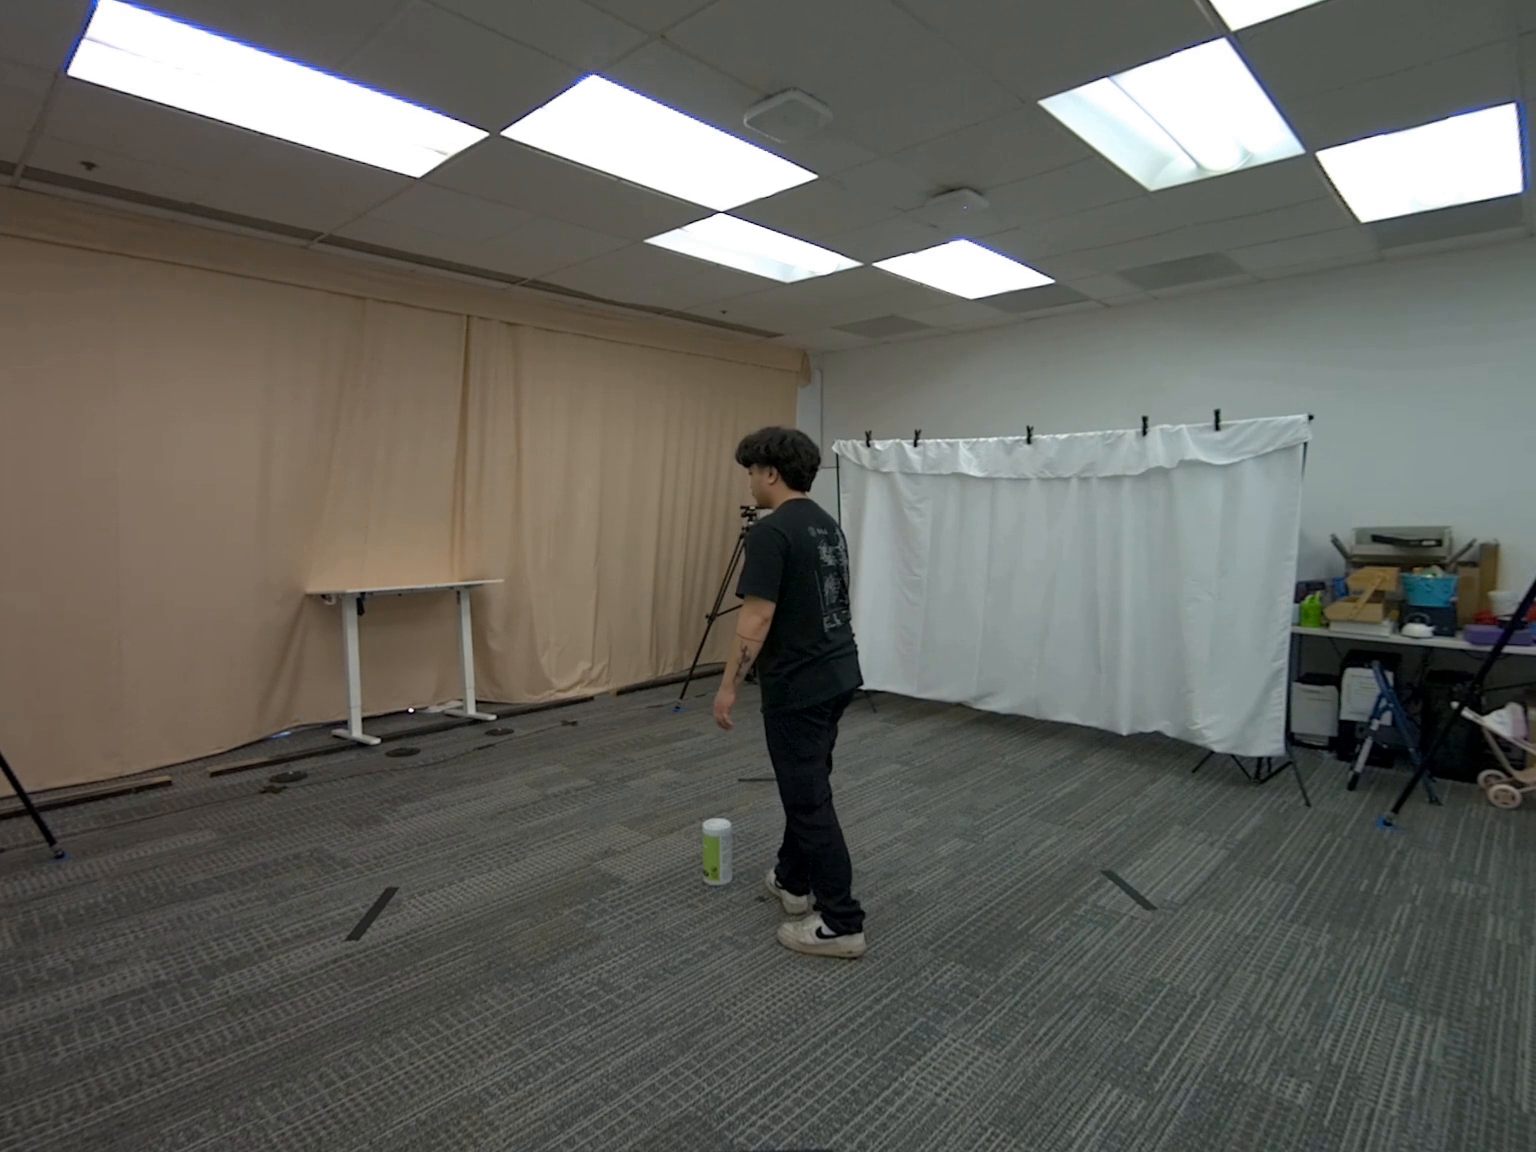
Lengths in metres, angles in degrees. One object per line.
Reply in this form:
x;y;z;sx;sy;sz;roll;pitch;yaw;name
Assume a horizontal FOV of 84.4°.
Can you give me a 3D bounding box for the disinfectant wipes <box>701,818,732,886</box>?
-0.188;1.029;3.129;0.118;0.217;0.118;-2;3;-2;disinfectant wipes
